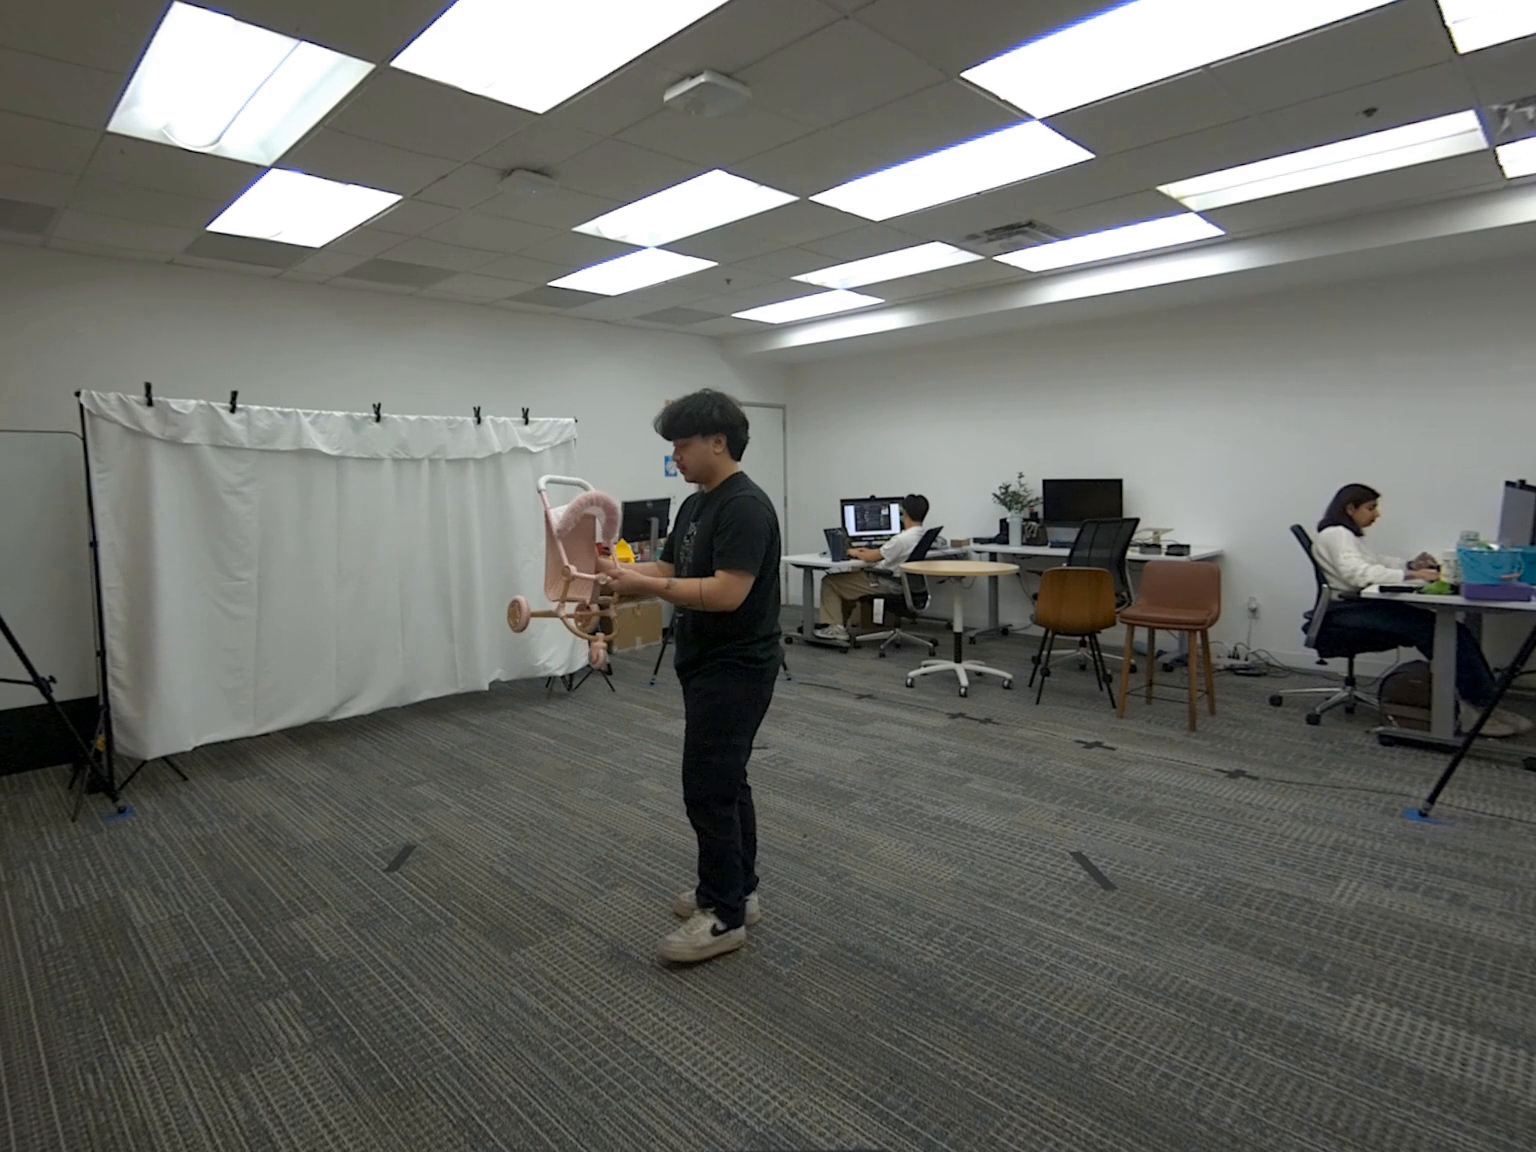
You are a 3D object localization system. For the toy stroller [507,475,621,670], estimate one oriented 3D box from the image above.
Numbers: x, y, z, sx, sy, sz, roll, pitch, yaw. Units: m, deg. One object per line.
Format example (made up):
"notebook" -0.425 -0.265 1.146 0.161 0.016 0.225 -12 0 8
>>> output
"toy stroller" -0.550 -0.016 2.526 0.272 0.534 0.353 7 2 -43
